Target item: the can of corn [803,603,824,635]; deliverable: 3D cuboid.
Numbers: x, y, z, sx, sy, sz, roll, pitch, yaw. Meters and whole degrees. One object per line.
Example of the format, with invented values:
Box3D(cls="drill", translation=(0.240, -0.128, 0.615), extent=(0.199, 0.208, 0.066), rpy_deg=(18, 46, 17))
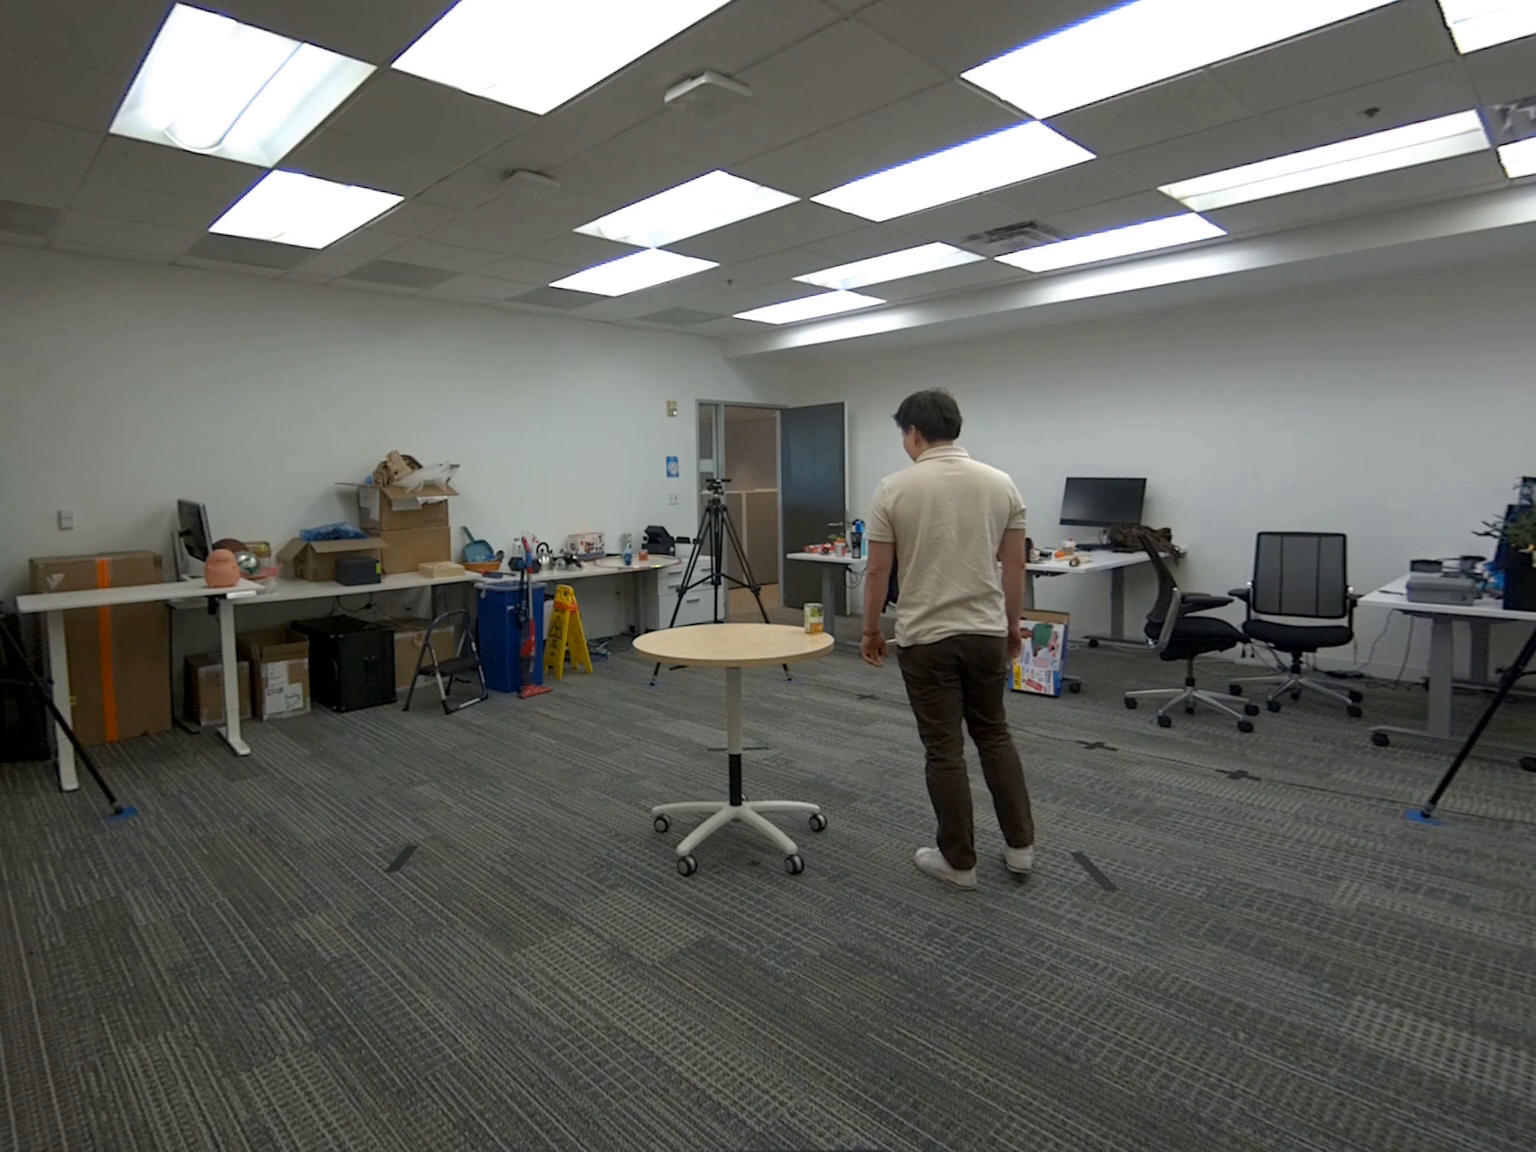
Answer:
Box3D(cls="can of corn", translation=(0.184, 0.169, 3.385), extent=(0.074, 0.111, 0.074), rpy_deg=(0, 3, -2))
